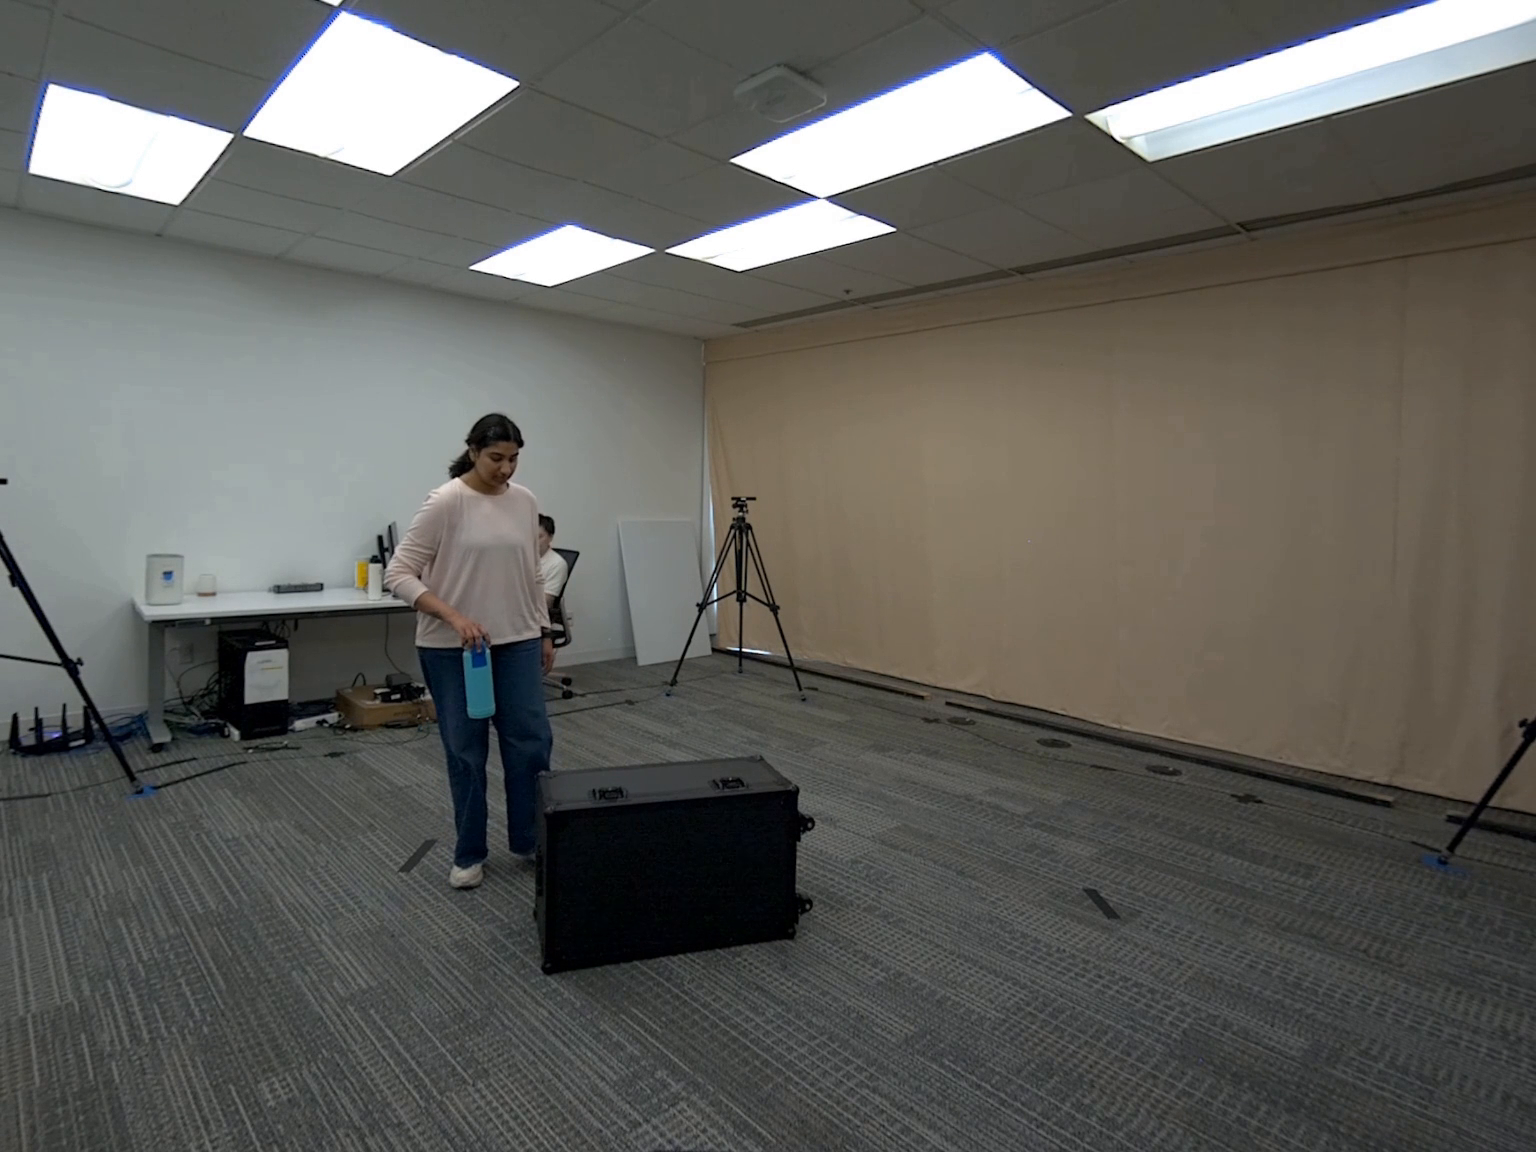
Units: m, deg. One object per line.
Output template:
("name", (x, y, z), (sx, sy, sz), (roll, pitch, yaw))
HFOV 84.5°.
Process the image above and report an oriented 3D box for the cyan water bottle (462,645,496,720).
("cyan water bottle", (-0.991, 0.334, 2.826), (0.092, 0.281, 0.093), (-3, 8, -1))
